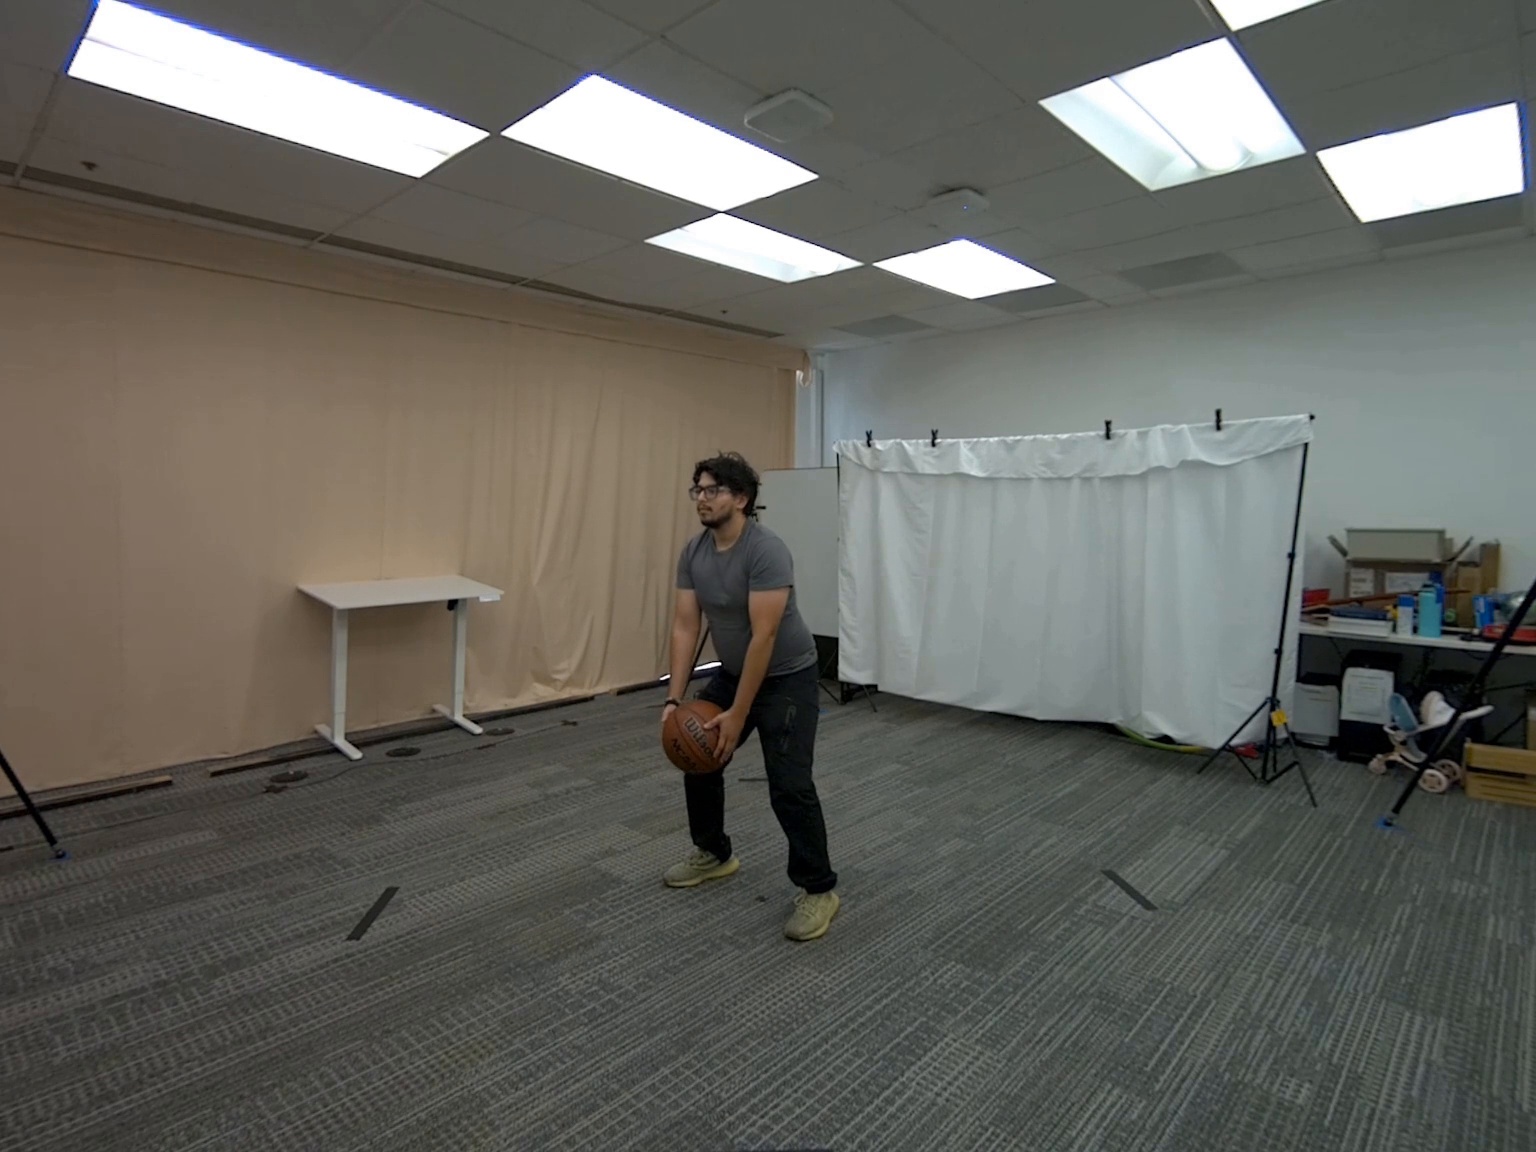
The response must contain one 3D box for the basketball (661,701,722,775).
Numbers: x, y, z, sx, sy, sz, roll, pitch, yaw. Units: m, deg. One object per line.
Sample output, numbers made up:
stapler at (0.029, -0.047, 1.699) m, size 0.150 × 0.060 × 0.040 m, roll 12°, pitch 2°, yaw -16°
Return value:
basketball at (-0.230, 0.532, 2.778) m, size 0.236 × 0.235 × 0.237 m, roll 0°, pitch 4°, yaw -2°
